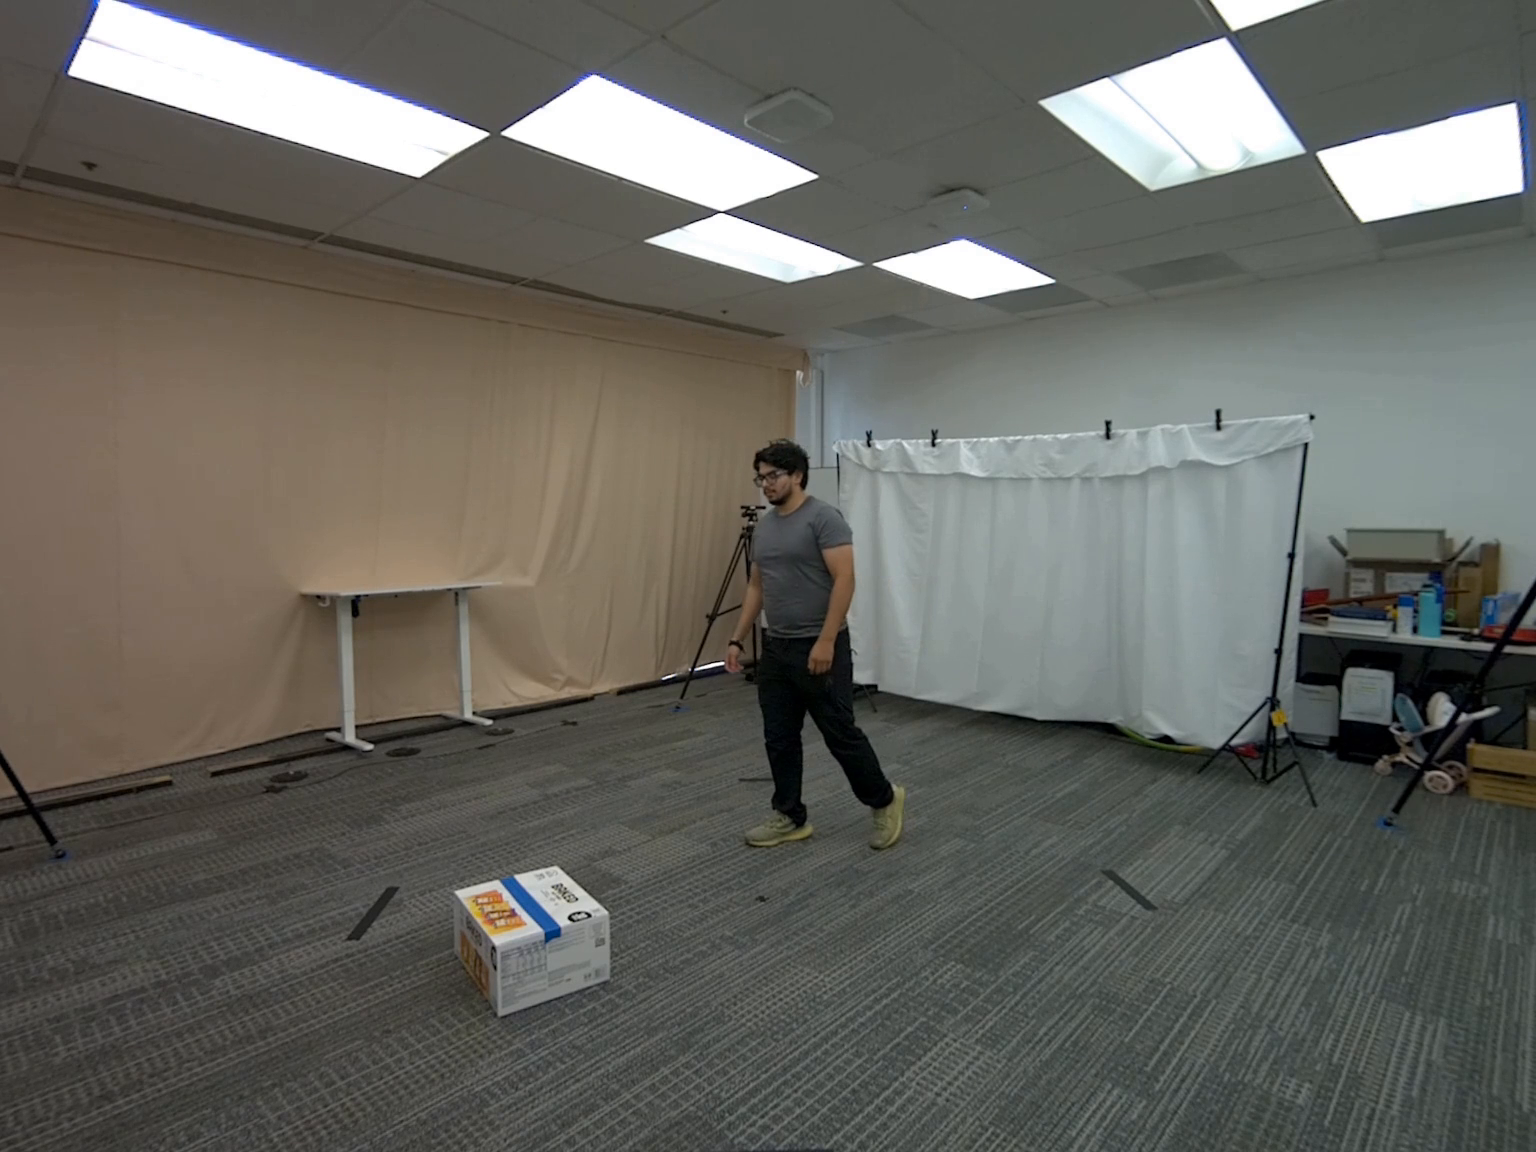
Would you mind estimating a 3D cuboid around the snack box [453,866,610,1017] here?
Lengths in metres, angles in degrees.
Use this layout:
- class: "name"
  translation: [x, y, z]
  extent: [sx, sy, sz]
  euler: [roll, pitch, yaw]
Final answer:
- class: "snack box"
  translation: [-0.719, 1.086, 2.535]
  extent: [0.330, 0.205, 0.418]
  euler: [-4, 5, -35]
